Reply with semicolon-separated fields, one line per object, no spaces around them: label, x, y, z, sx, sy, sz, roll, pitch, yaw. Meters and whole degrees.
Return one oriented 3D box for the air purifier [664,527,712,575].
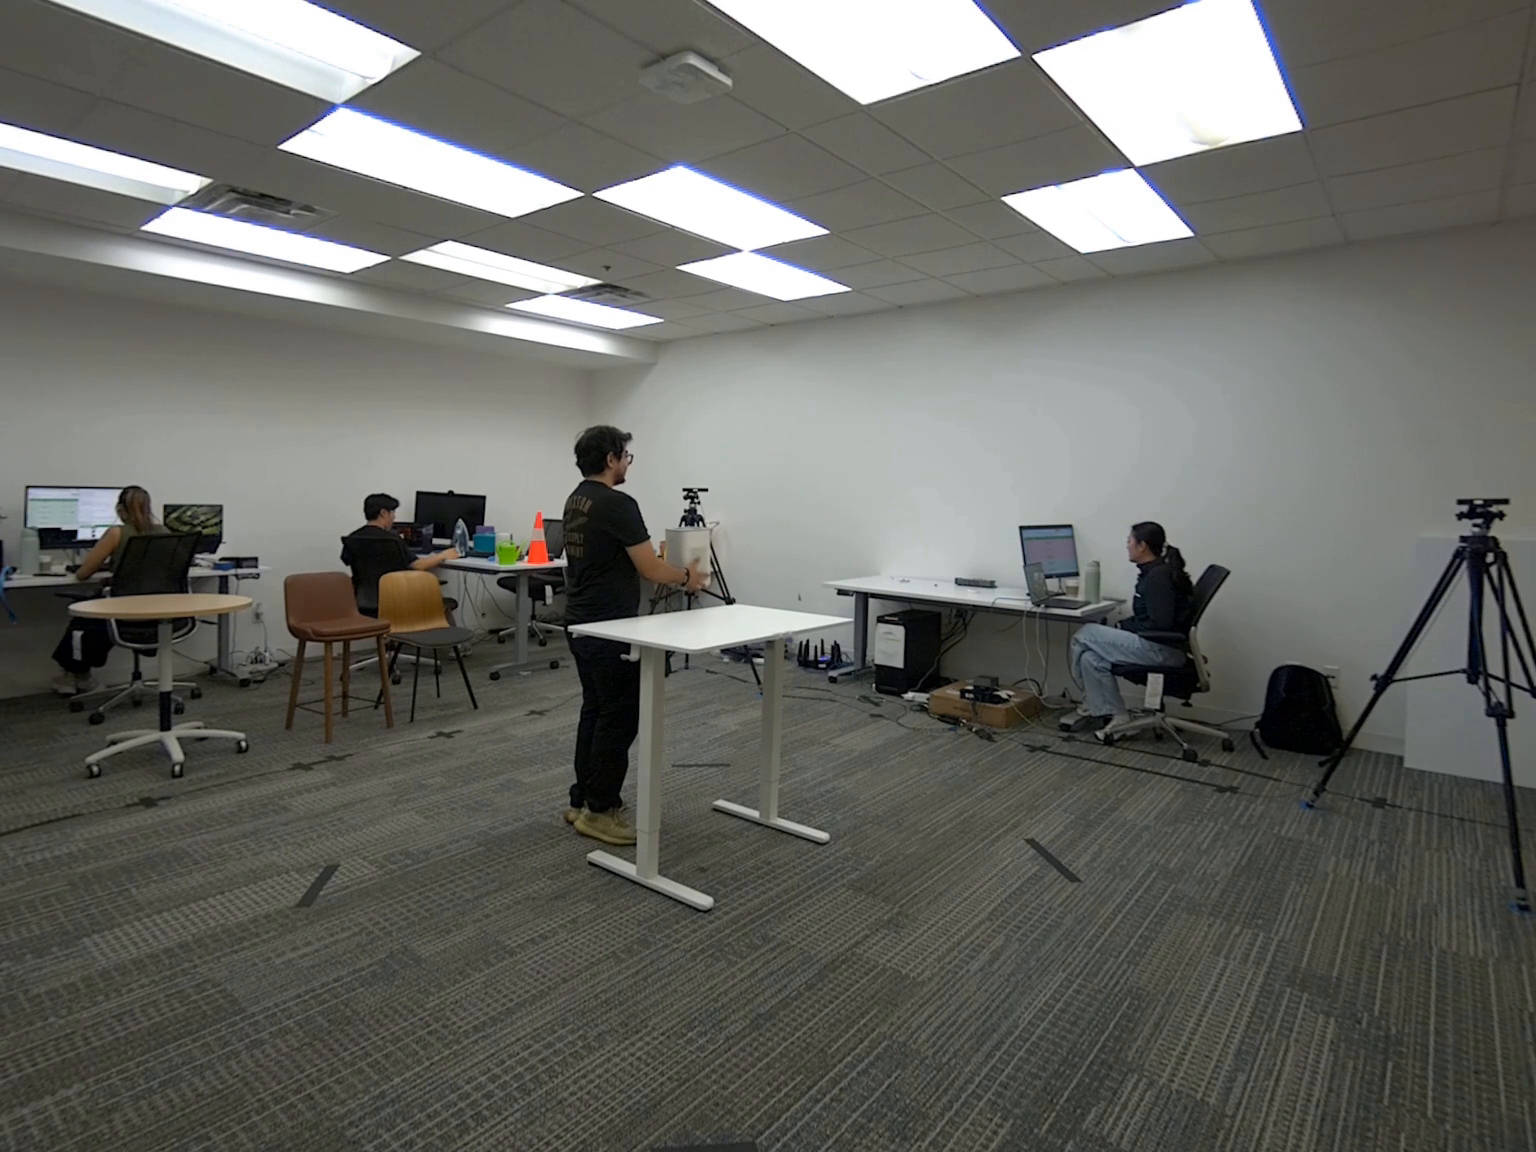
air purifier;-0.368;-0.083;3.768;0.166;0.264;0.177;-4;7;-41
